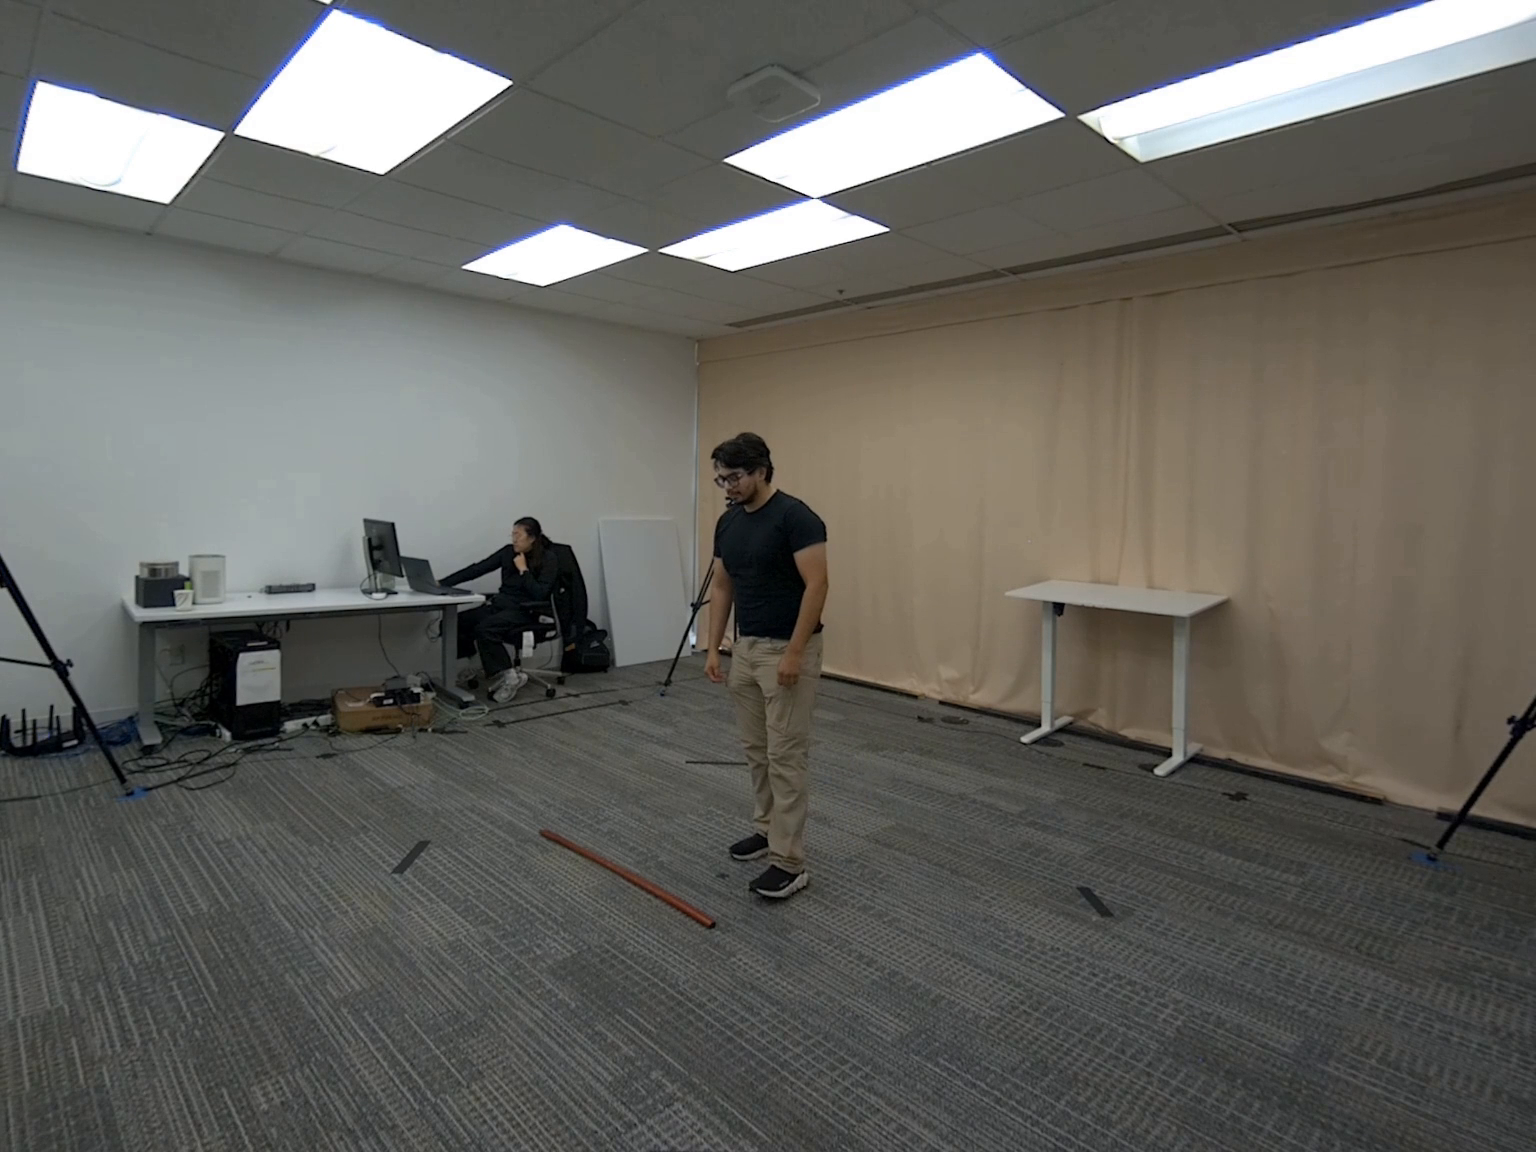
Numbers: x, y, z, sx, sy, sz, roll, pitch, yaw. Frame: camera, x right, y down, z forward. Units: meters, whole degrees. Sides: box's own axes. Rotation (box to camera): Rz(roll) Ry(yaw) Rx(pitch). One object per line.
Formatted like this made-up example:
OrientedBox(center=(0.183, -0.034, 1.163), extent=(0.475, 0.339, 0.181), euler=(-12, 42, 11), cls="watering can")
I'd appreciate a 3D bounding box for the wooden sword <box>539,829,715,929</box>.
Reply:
OrientedBox(center=(-0.538, 1.076, 3.092), extent=(1.051, 0.024, 0.050), euler=(7, 23, 45), cls="wooden sword")
